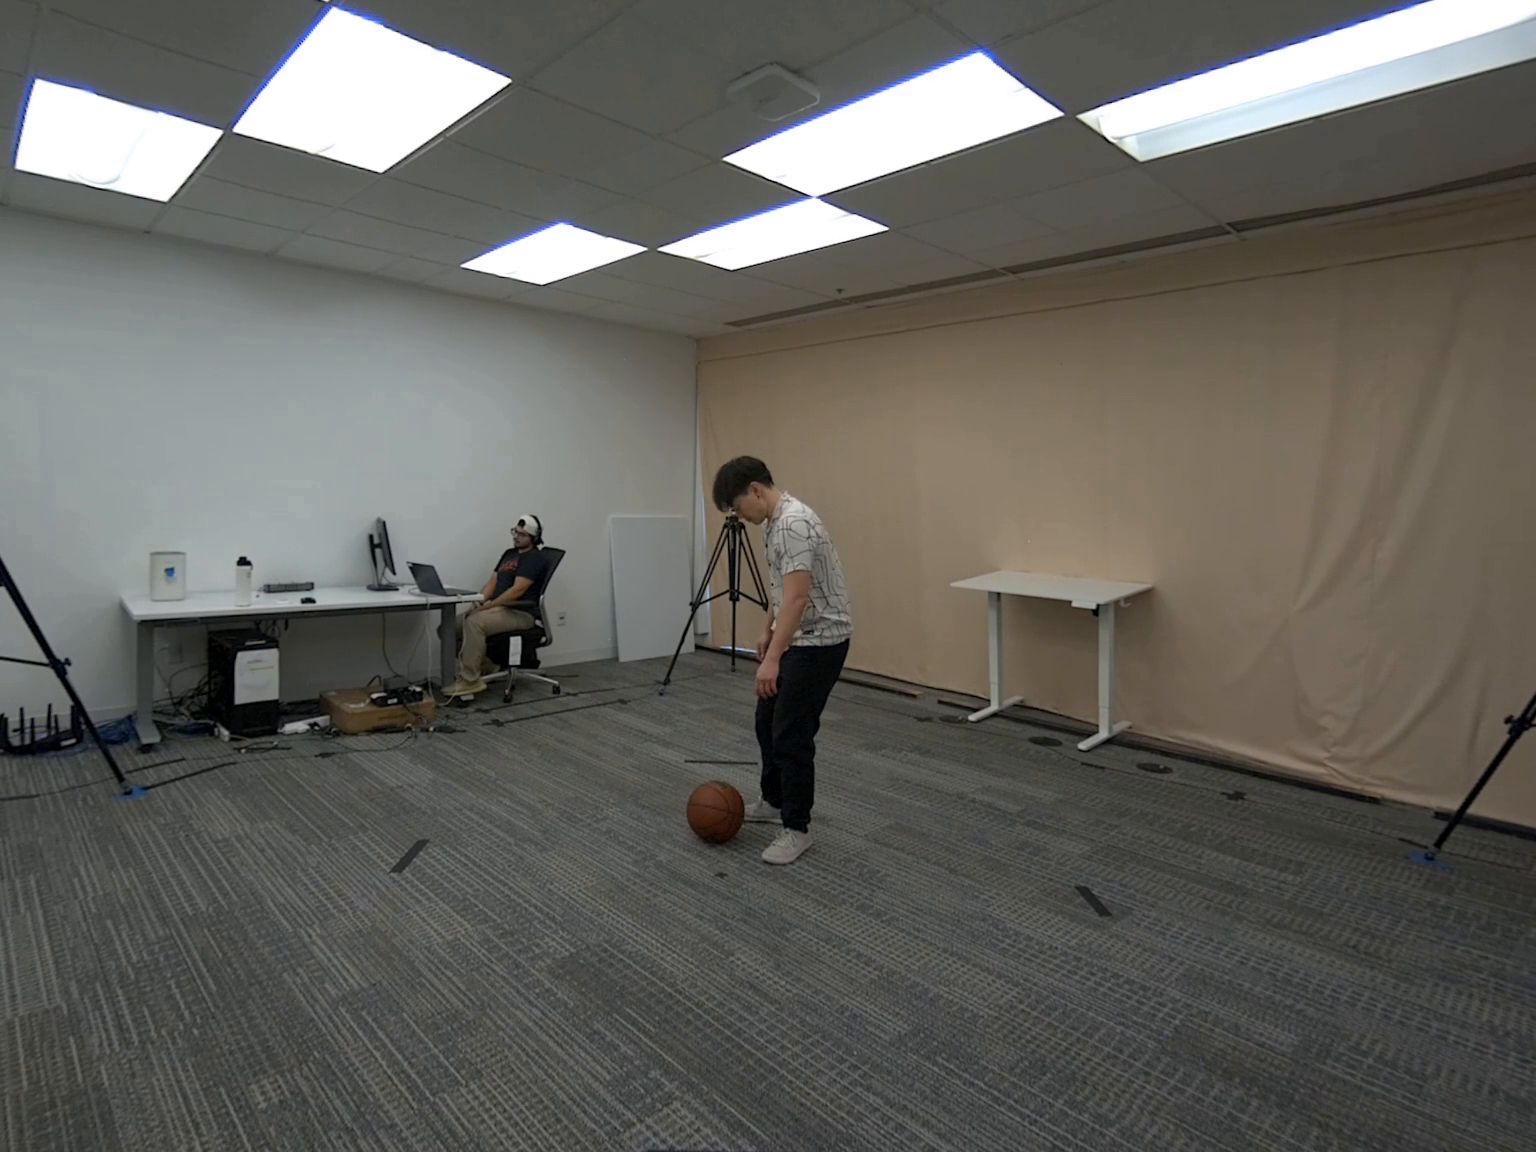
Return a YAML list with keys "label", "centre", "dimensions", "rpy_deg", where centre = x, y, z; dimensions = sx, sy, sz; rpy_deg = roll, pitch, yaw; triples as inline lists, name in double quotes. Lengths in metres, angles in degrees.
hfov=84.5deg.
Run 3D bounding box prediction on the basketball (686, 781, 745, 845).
- label: "basketball"
  centre: [-0.221, 0.954, 3.420]
  dimensions: [0.236, 0.235, 0.237]
  rpy_deg: [1, 4, -1]
